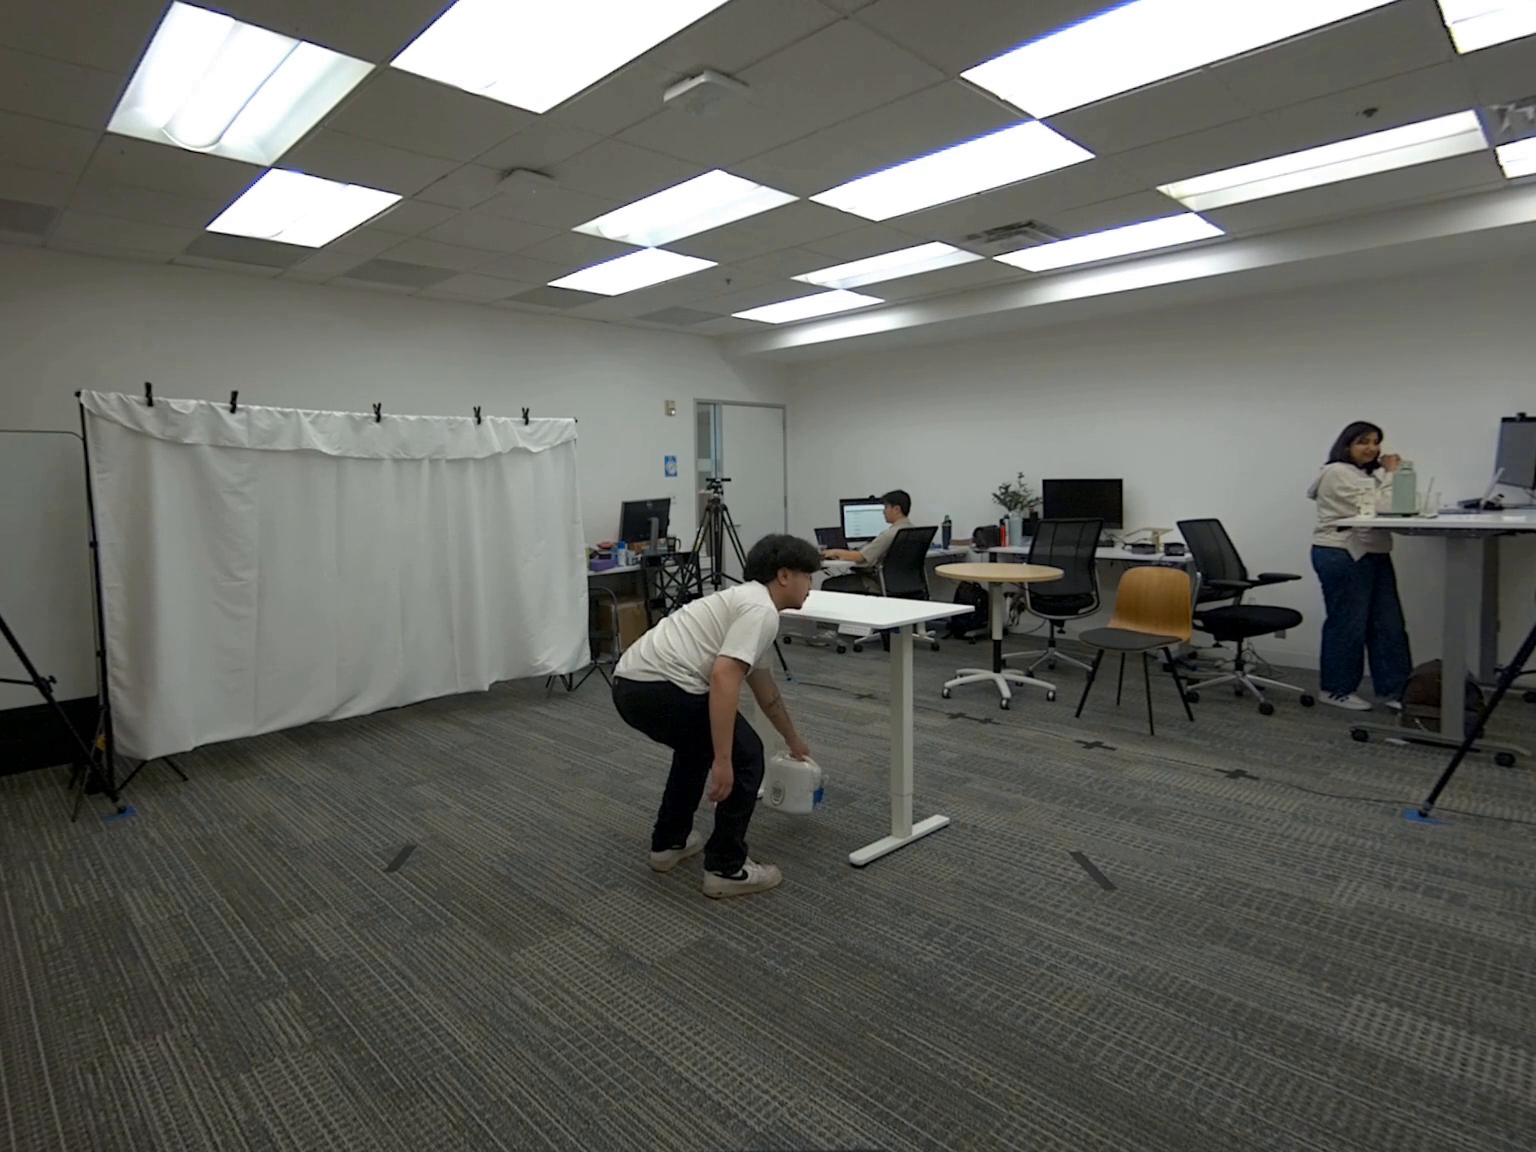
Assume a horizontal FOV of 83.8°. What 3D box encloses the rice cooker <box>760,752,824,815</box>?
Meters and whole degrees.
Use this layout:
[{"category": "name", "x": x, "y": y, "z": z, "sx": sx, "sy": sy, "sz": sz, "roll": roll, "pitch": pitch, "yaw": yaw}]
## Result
[{"category": "rice cooker", "x": 0.104, "y": 0.809, "z": 3.370, "sx": 0.227, "sy": 0.233, "sz": 0.210, "roll": 5, "pitch": -4, "yaw": 34}]
